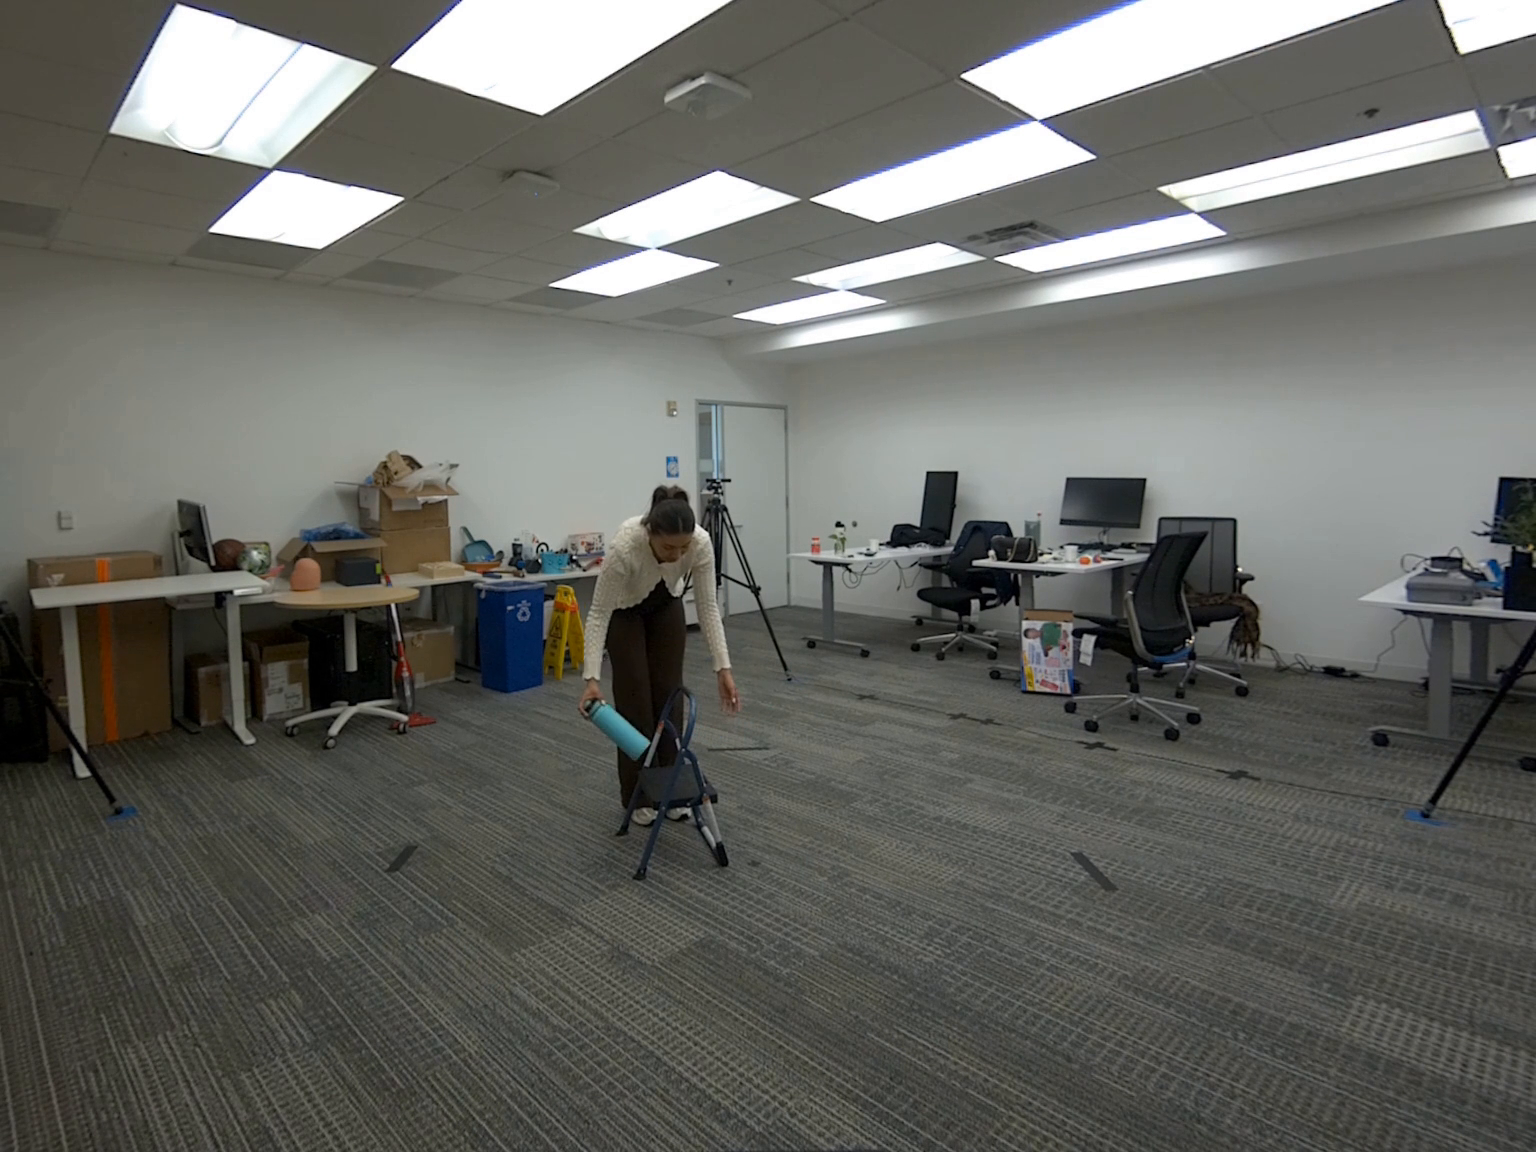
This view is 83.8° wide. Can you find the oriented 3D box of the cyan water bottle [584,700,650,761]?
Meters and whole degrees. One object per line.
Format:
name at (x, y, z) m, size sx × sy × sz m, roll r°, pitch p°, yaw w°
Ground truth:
cyan water bottle at (-0.573, 0.569, 3.211) m, size 0.285 × 0.092 × 0.092 m, roll 42°, pitch 9°, yaw 5°
